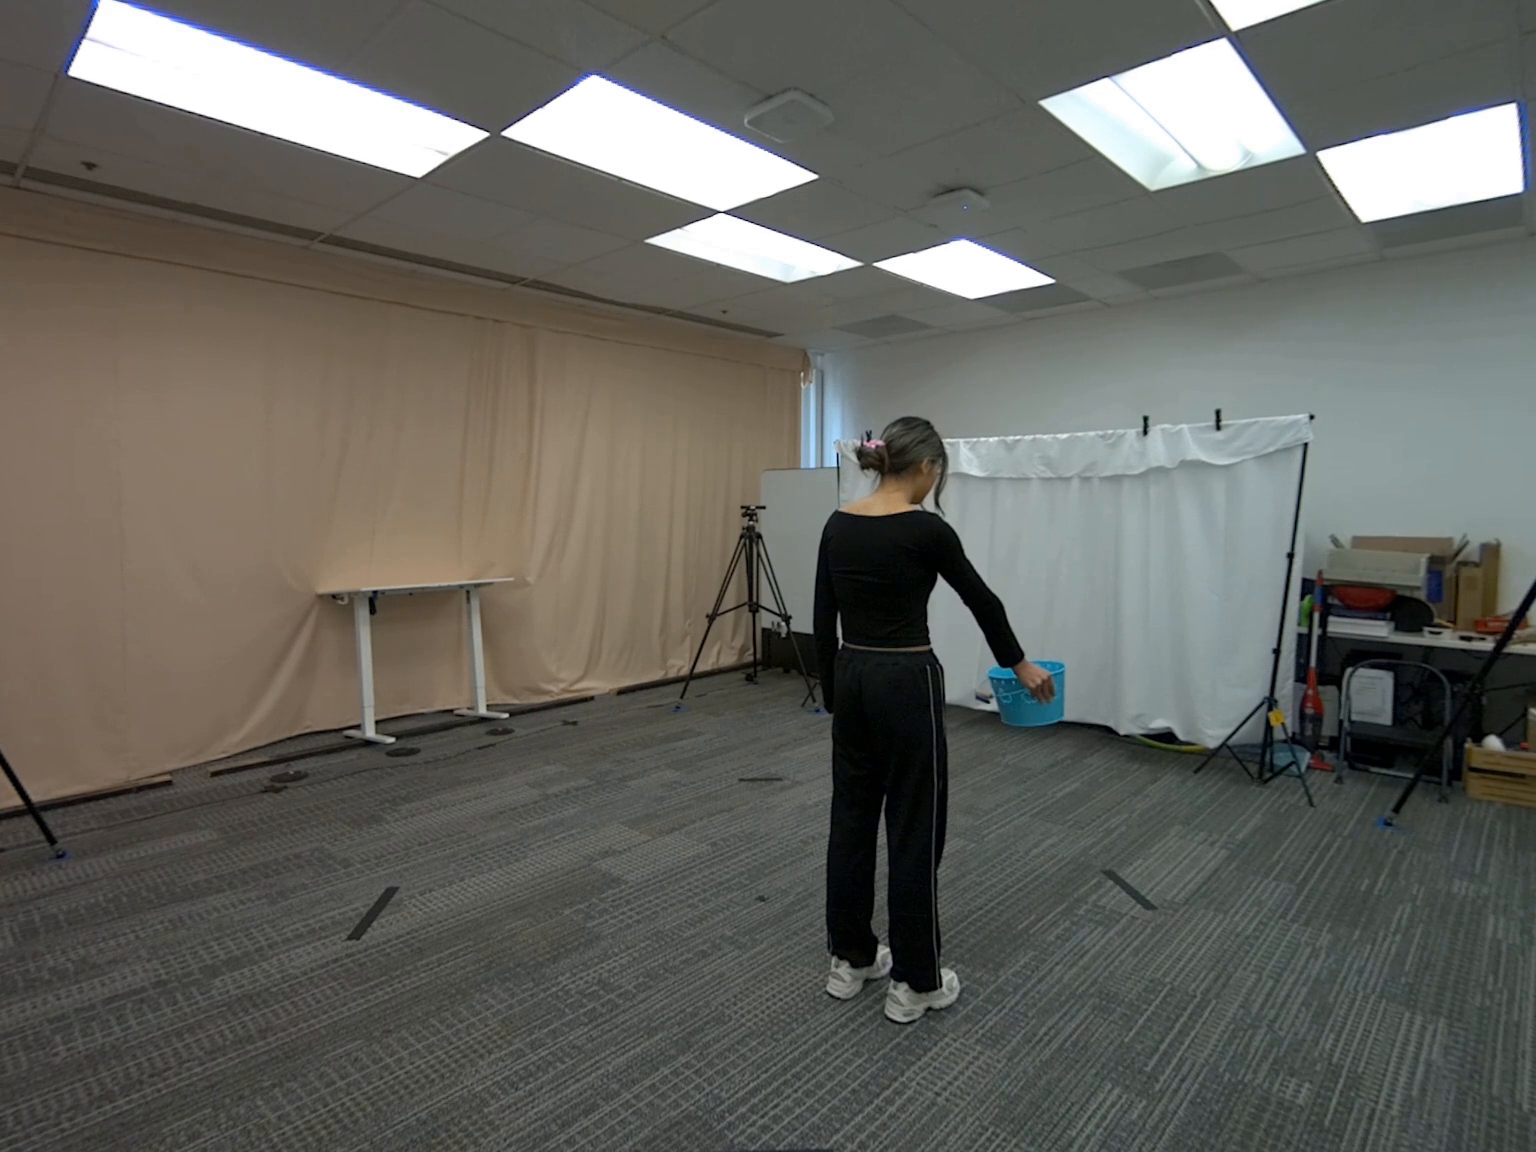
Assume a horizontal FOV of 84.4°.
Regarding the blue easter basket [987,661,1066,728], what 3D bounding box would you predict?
[{"bbox_3d":[0.805,0.365,2.559,0.243,0.155,0.244,-6,3,-2],"label":"blue easter basket"}]
